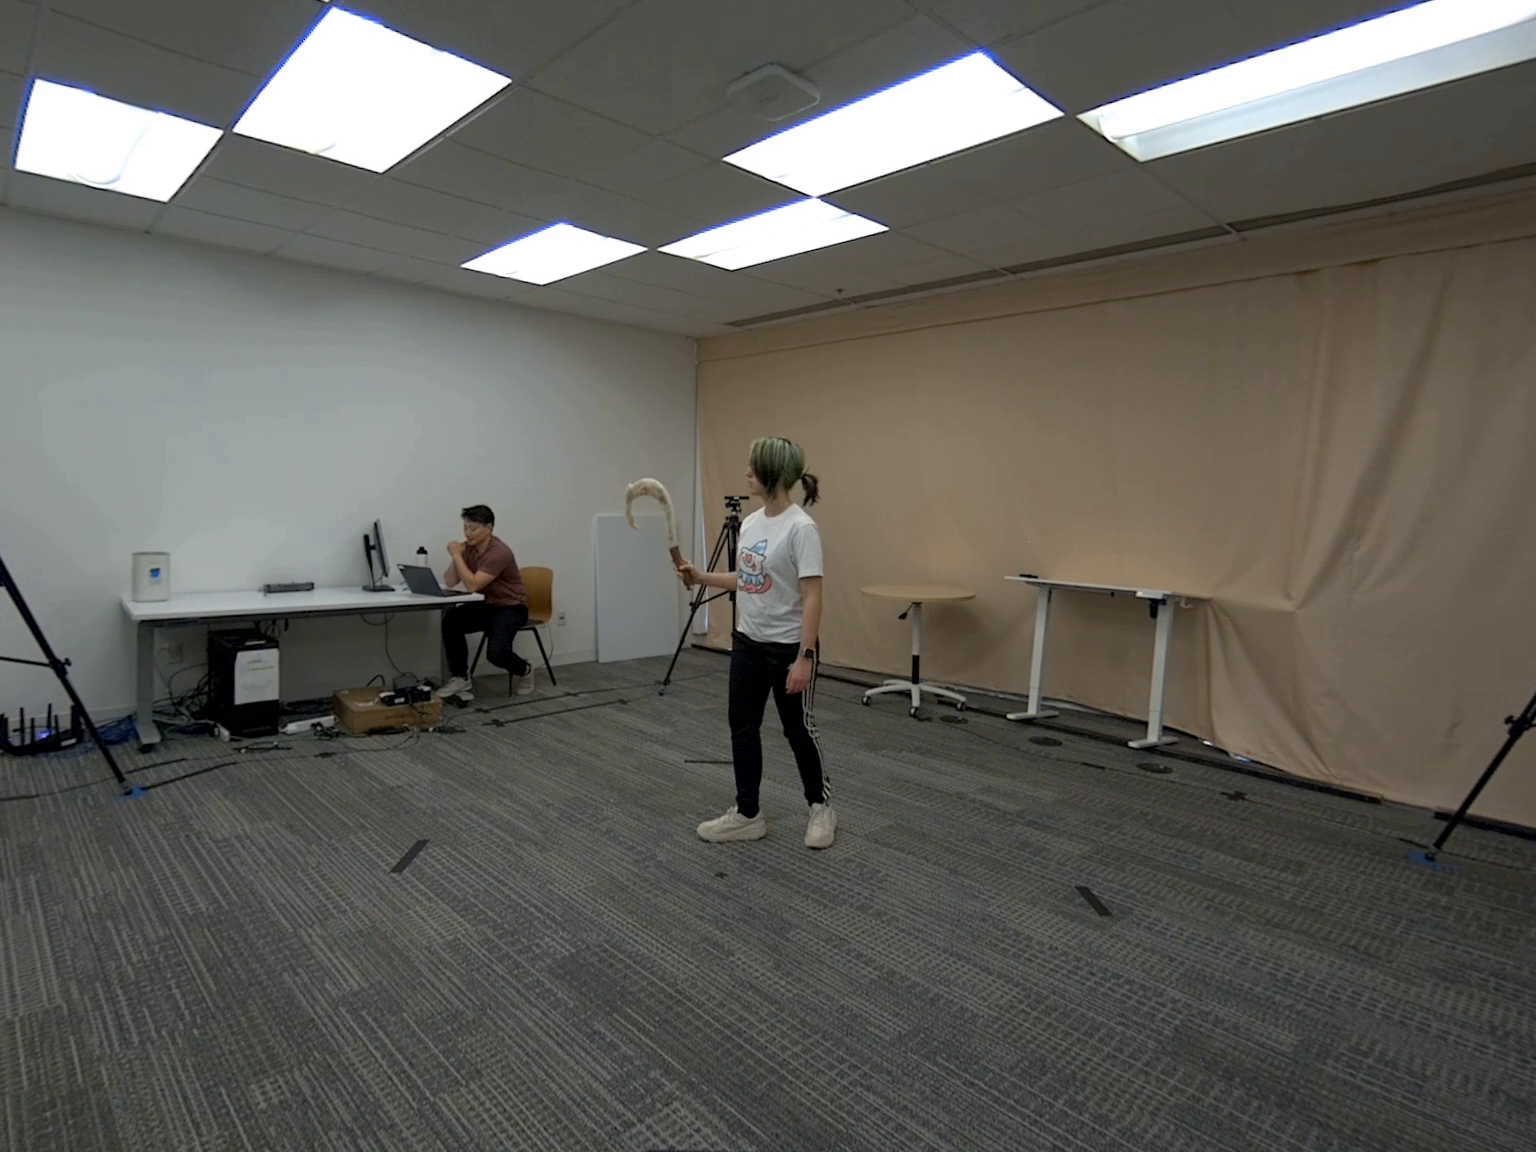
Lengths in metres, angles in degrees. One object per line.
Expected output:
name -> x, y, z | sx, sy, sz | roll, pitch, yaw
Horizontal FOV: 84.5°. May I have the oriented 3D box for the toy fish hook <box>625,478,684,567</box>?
toy fish hook -> -0.451, -0.156, 3.540 | 0.227, 0.503, 0.048 | -16, 8, 26
